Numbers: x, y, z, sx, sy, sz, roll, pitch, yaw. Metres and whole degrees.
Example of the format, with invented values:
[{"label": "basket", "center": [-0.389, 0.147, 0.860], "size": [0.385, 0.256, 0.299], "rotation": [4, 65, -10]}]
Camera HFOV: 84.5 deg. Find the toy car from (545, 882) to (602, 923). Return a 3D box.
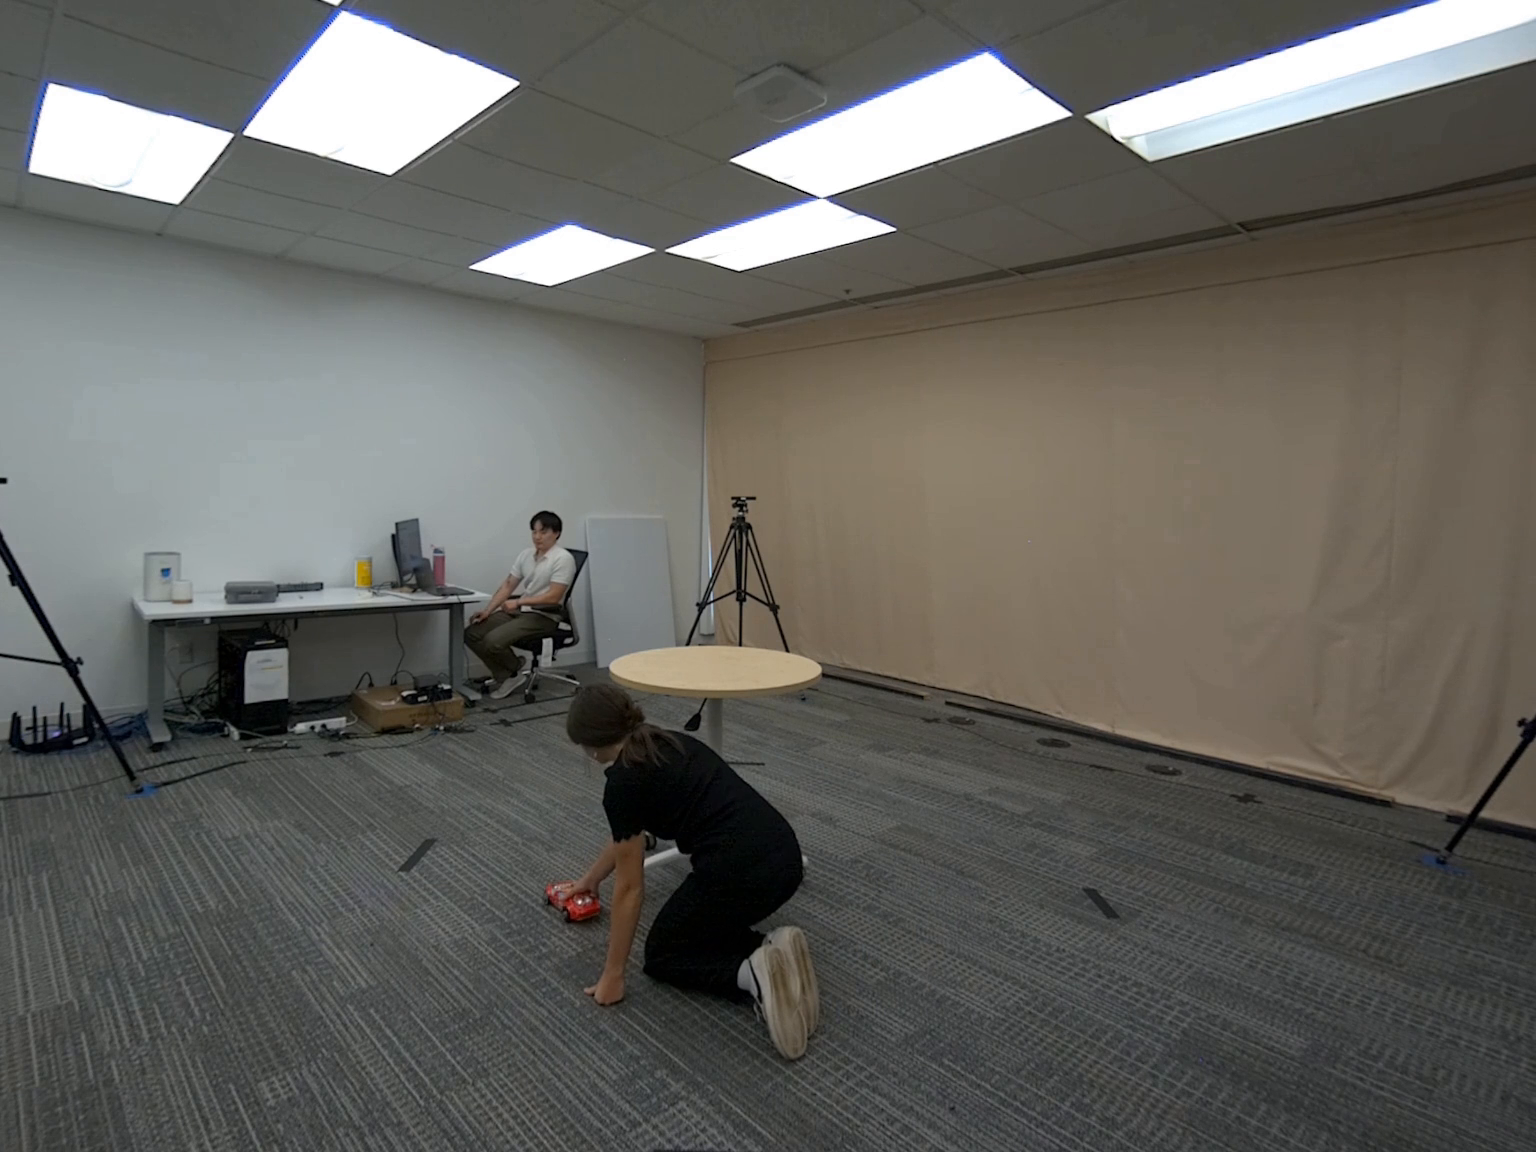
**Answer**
[{"label": "toy car", "center": [-0.659, 1.093, 2.803], "size": [0.127, 0.083, 0.260], "rotation": [-1, -3, -39]}]
